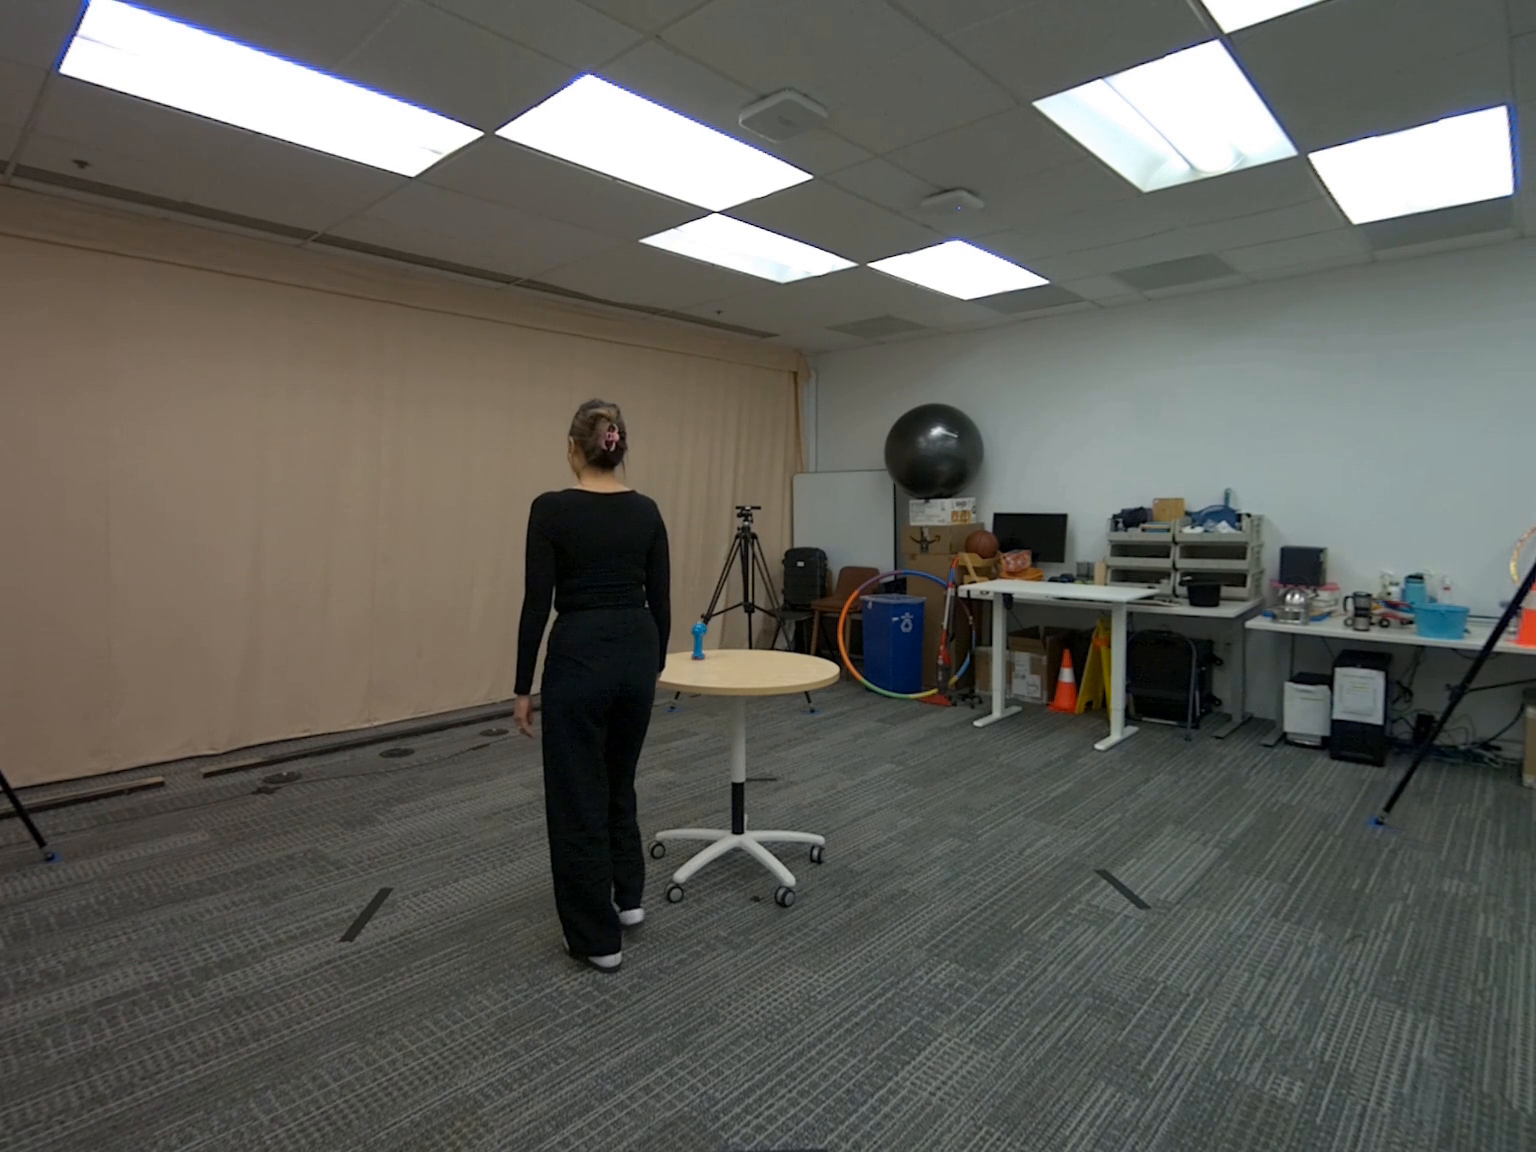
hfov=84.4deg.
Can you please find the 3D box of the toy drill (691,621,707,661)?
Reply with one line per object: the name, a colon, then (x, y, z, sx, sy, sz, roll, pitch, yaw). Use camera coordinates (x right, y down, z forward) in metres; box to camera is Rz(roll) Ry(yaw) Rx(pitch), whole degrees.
toy drill: (-0.273, 0.255, 3.400, 0.061, 0.146, 0.169, 3, 4, 2)
